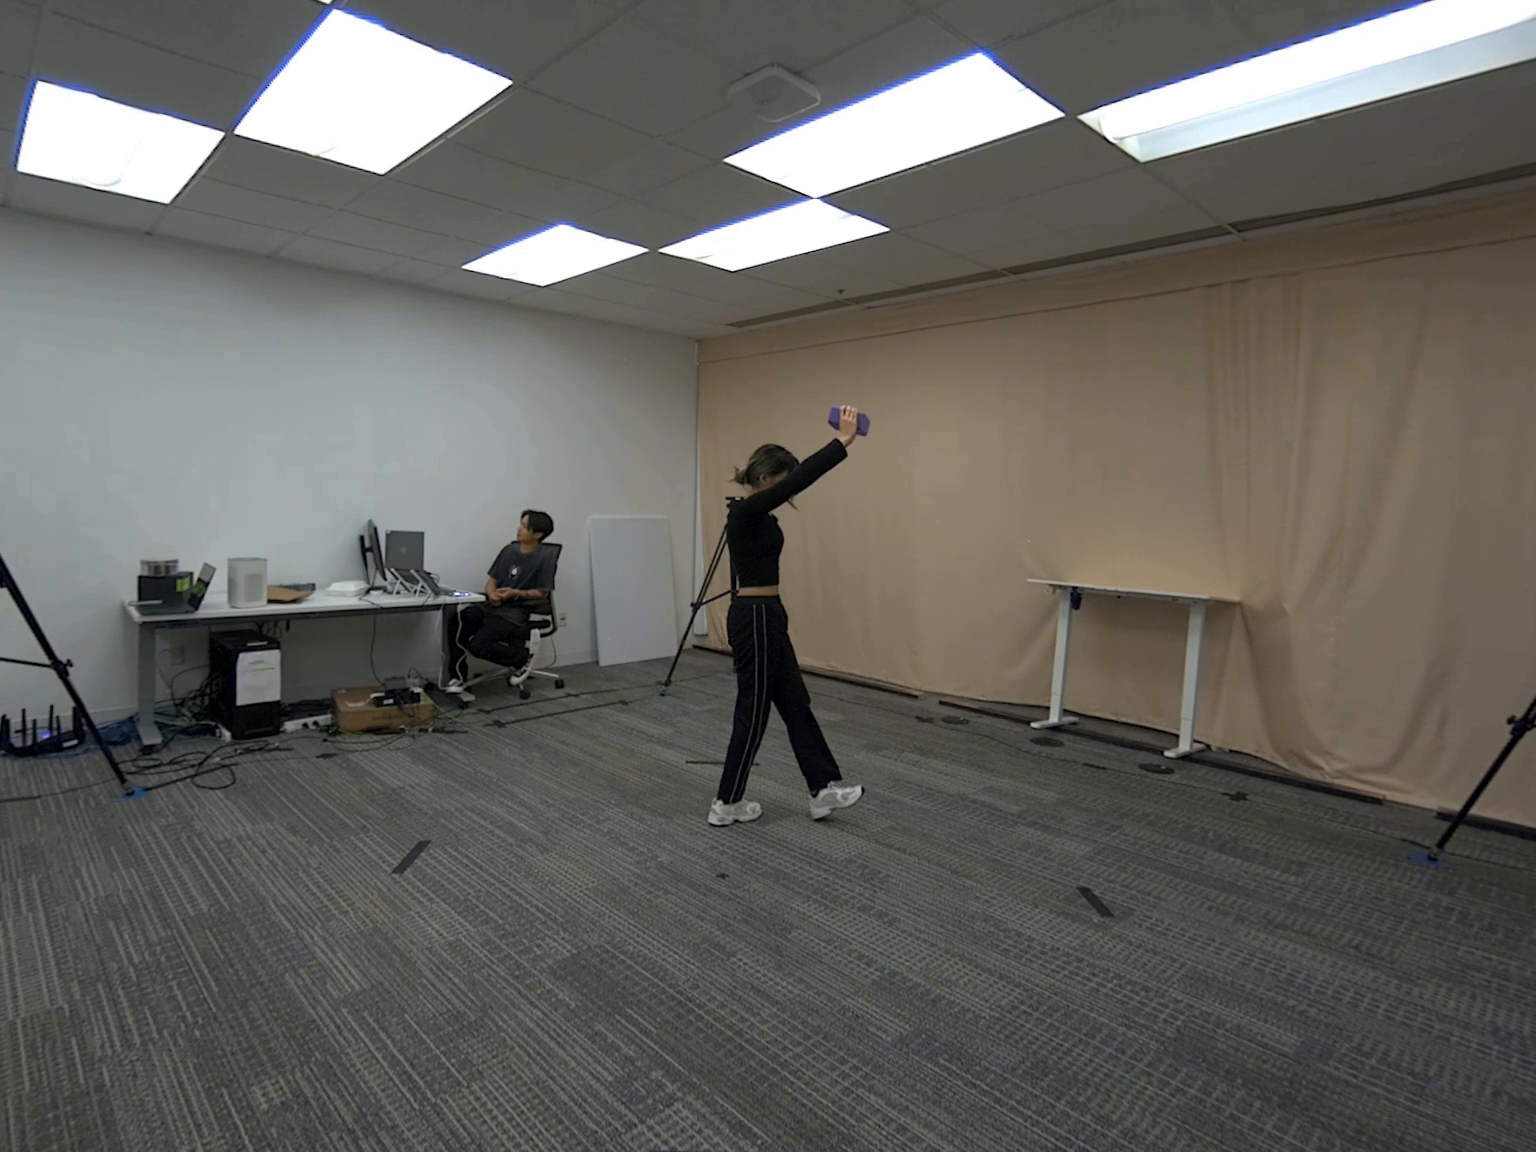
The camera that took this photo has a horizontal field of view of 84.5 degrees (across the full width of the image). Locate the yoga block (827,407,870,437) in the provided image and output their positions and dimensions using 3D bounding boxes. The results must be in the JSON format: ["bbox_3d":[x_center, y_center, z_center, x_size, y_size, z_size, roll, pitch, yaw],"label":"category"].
[{"bbox_3d":[0.335,-0.657,3.566,0.151,0.076,0.227,16,4,12],"label":"yoga block"}]
